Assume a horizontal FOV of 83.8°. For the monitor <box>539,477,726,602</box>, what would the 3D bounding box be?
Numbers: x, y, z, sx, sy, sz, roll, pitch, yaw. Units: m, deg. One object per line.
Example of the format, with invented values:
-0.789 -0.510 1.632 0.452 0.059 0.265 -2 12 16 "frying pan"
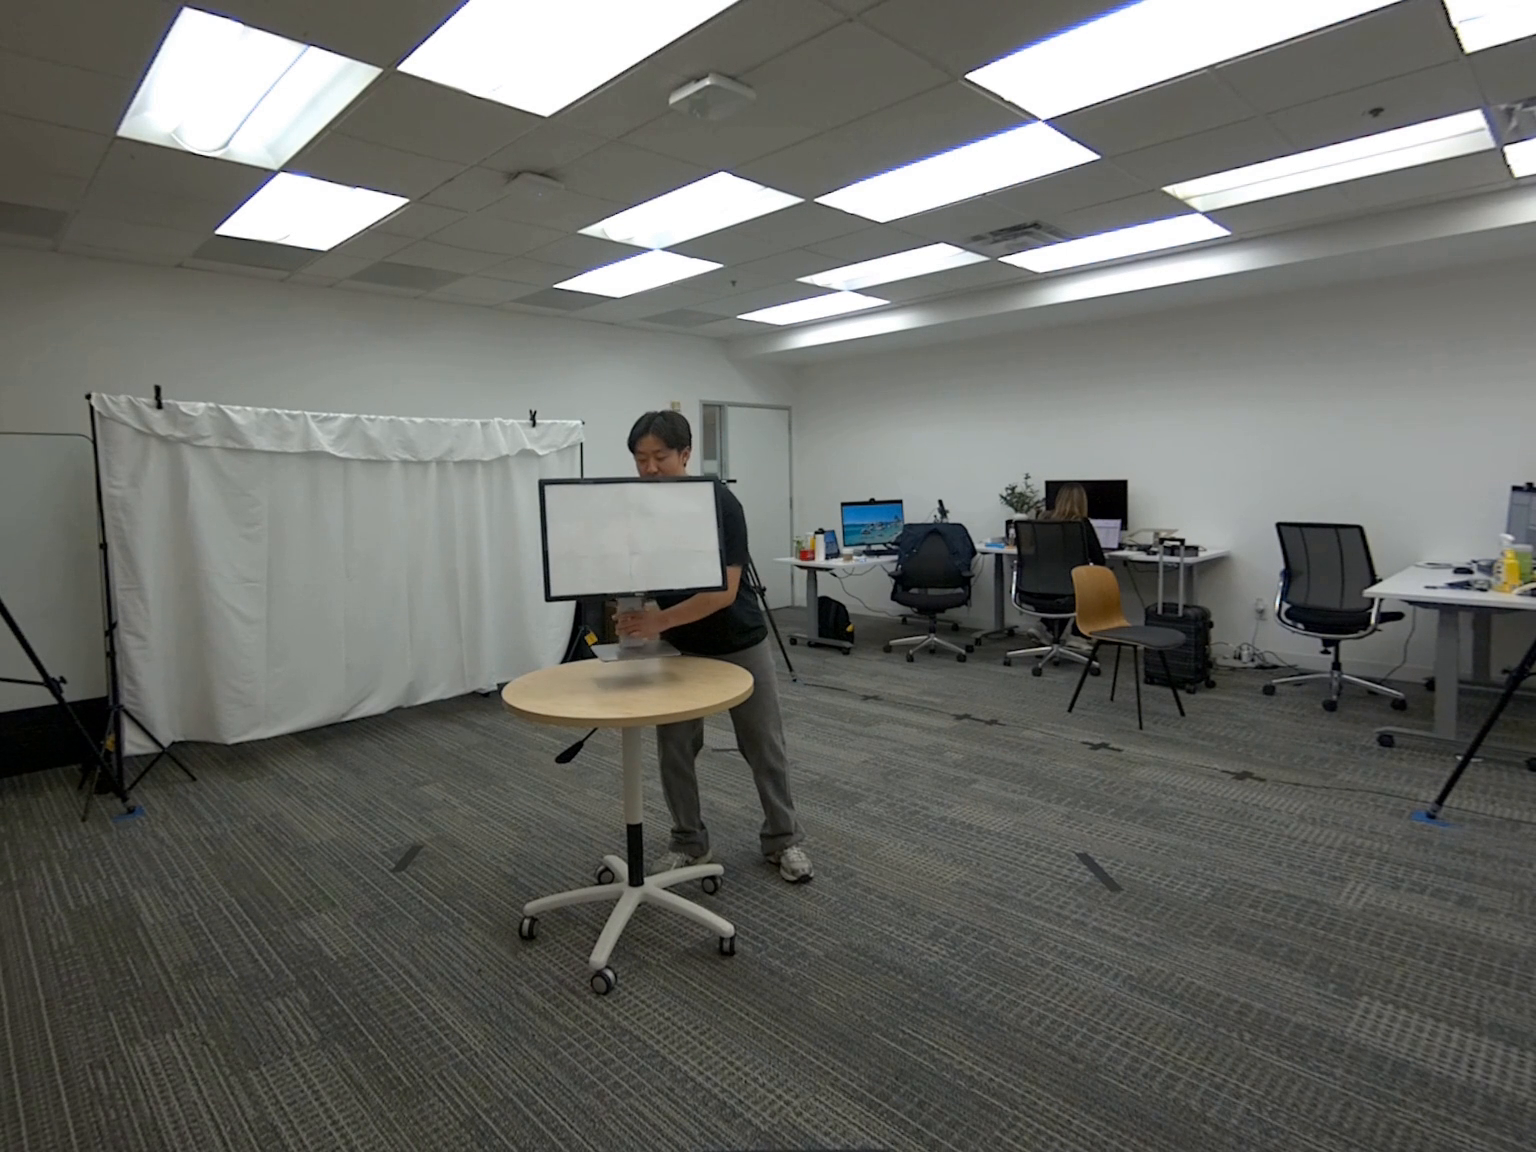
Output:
-0.410 -0.019 2.614 0.554 0.562 0.227 -3 7 -16 "monitor"
